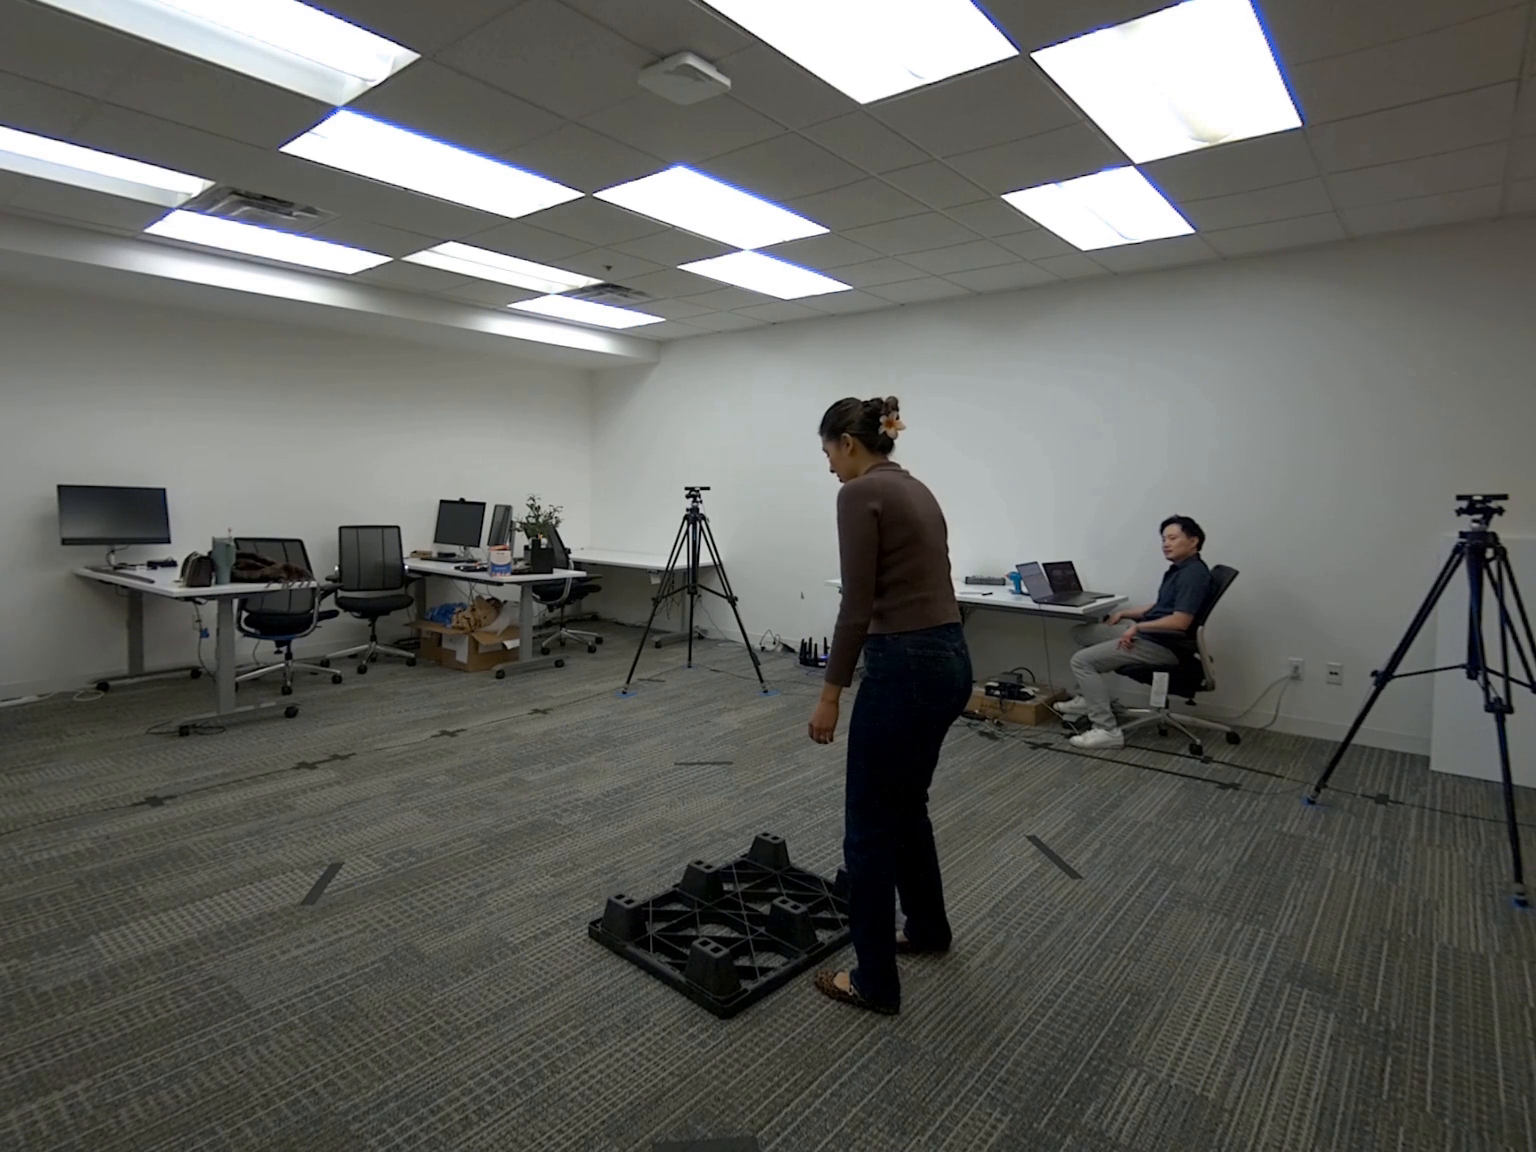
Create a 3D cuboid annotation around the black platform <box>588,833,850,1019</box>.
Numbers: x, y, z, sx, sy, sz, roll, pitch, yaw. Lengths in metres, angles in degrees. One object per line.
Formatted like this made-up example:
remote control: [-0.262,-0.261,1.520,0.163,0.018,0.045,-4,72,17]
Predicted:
black platform: [-0.085,1.043,2.708,0.626,0.143,0.781,7,8,42]
